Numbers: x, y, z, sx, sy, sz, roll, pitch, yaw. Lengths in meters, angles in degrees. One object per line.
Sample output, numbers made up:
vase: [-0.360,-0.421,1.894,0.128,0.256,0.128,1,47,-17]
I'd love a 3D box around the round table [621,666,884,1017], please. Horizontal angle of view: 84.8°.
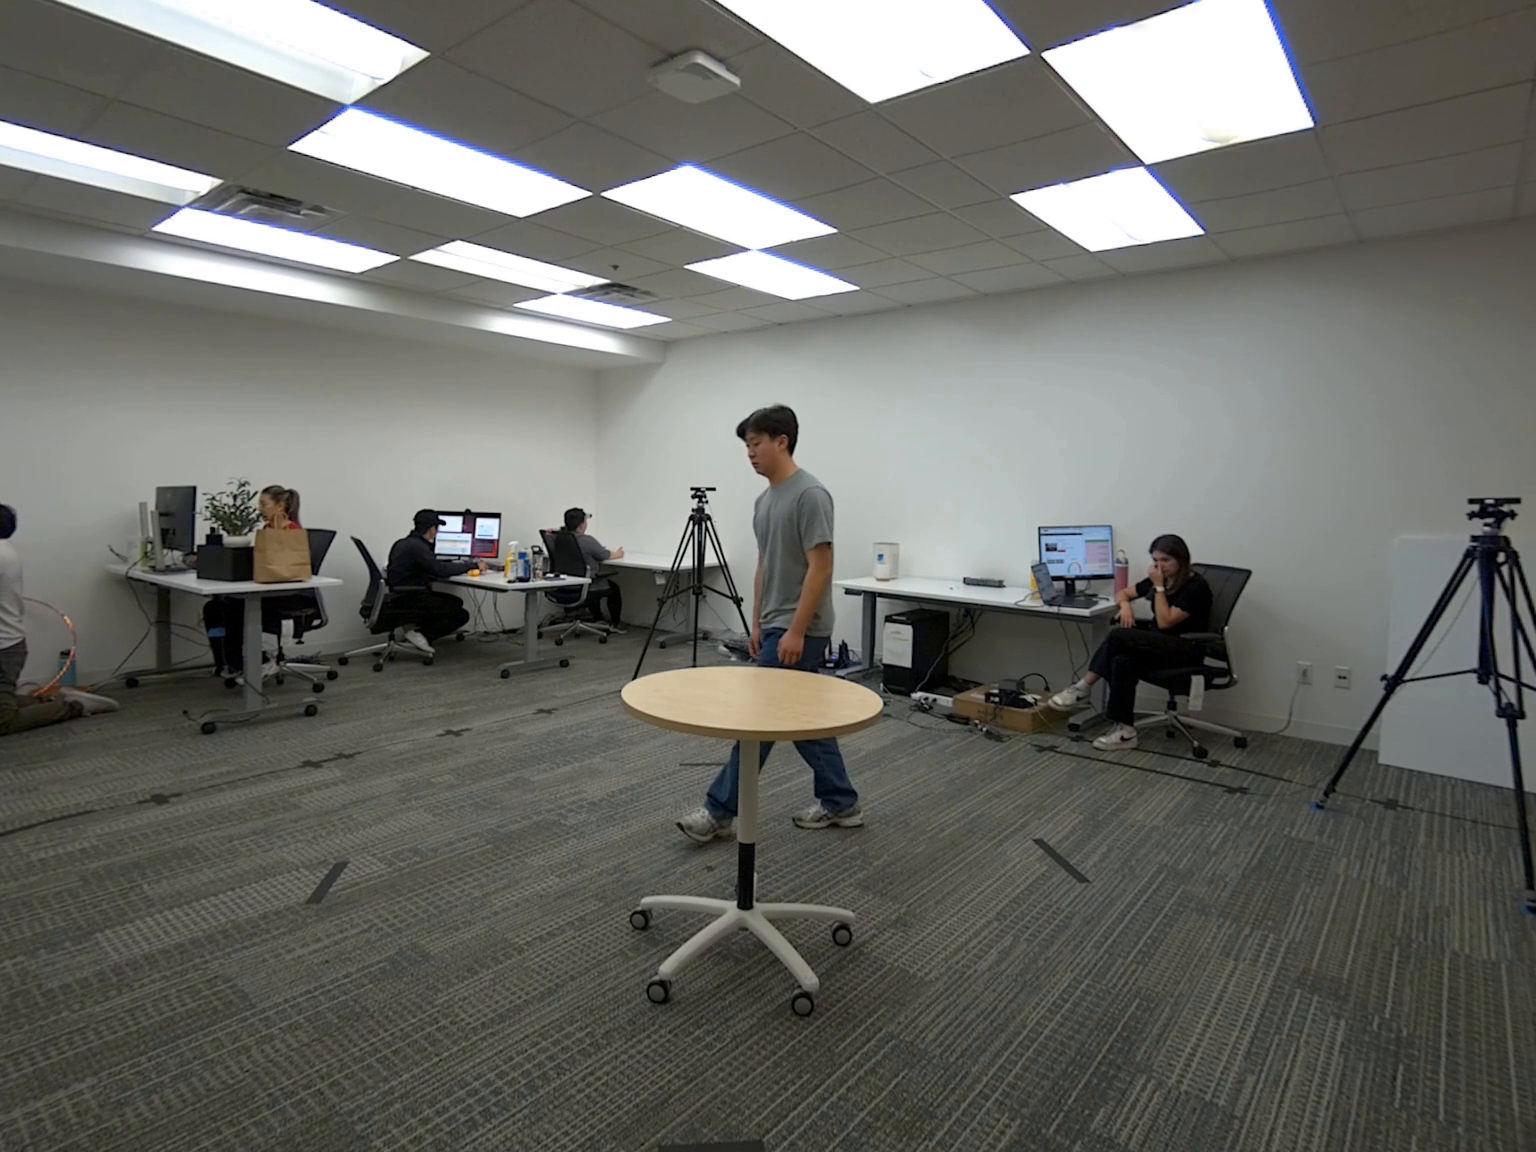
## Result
round table: [-0.073,0.738,2.533,0.763,0.791,0.768,1,4,-2]
